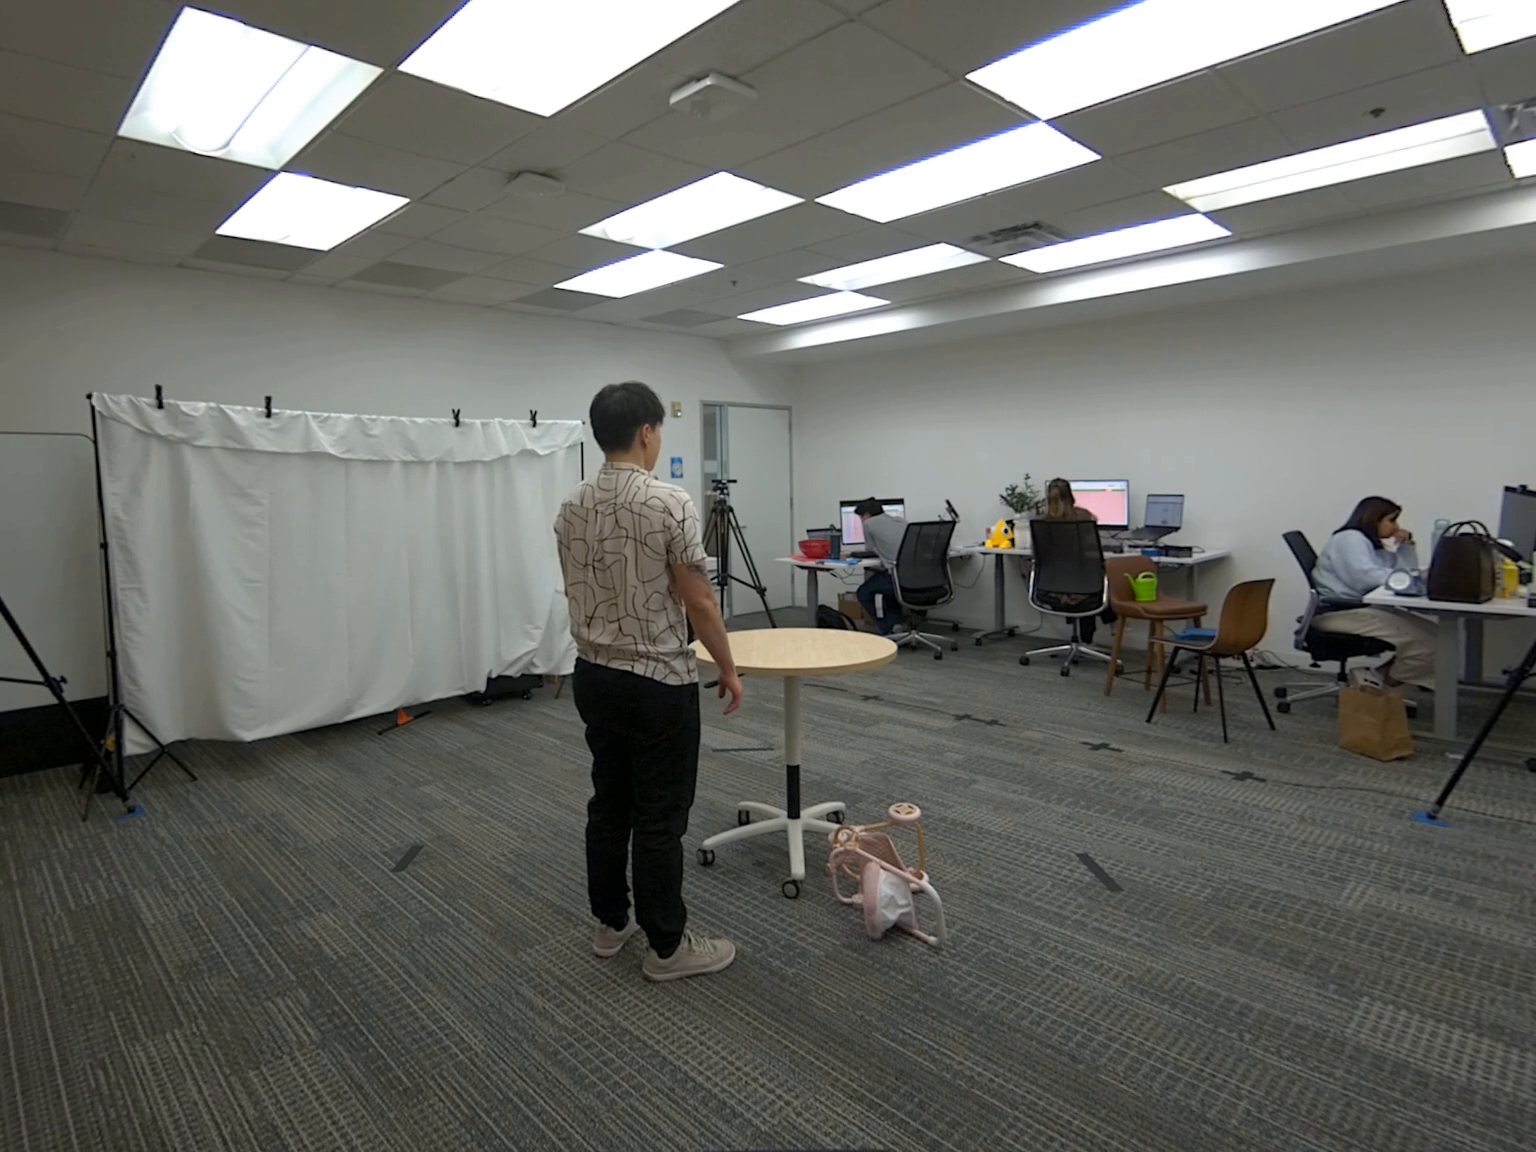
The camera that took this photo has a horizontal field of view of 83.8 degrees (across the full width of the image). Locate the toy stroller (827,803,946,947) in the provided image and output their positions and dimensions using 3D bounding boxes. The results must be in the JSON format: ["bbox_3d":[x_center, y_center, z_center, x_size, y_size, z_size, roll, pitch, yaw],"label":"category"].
[{"bbox_3d":[0.364,0.961,2.750,0.343,0.278,0.538,-3,13,6],"label":"toy stroller"}]
